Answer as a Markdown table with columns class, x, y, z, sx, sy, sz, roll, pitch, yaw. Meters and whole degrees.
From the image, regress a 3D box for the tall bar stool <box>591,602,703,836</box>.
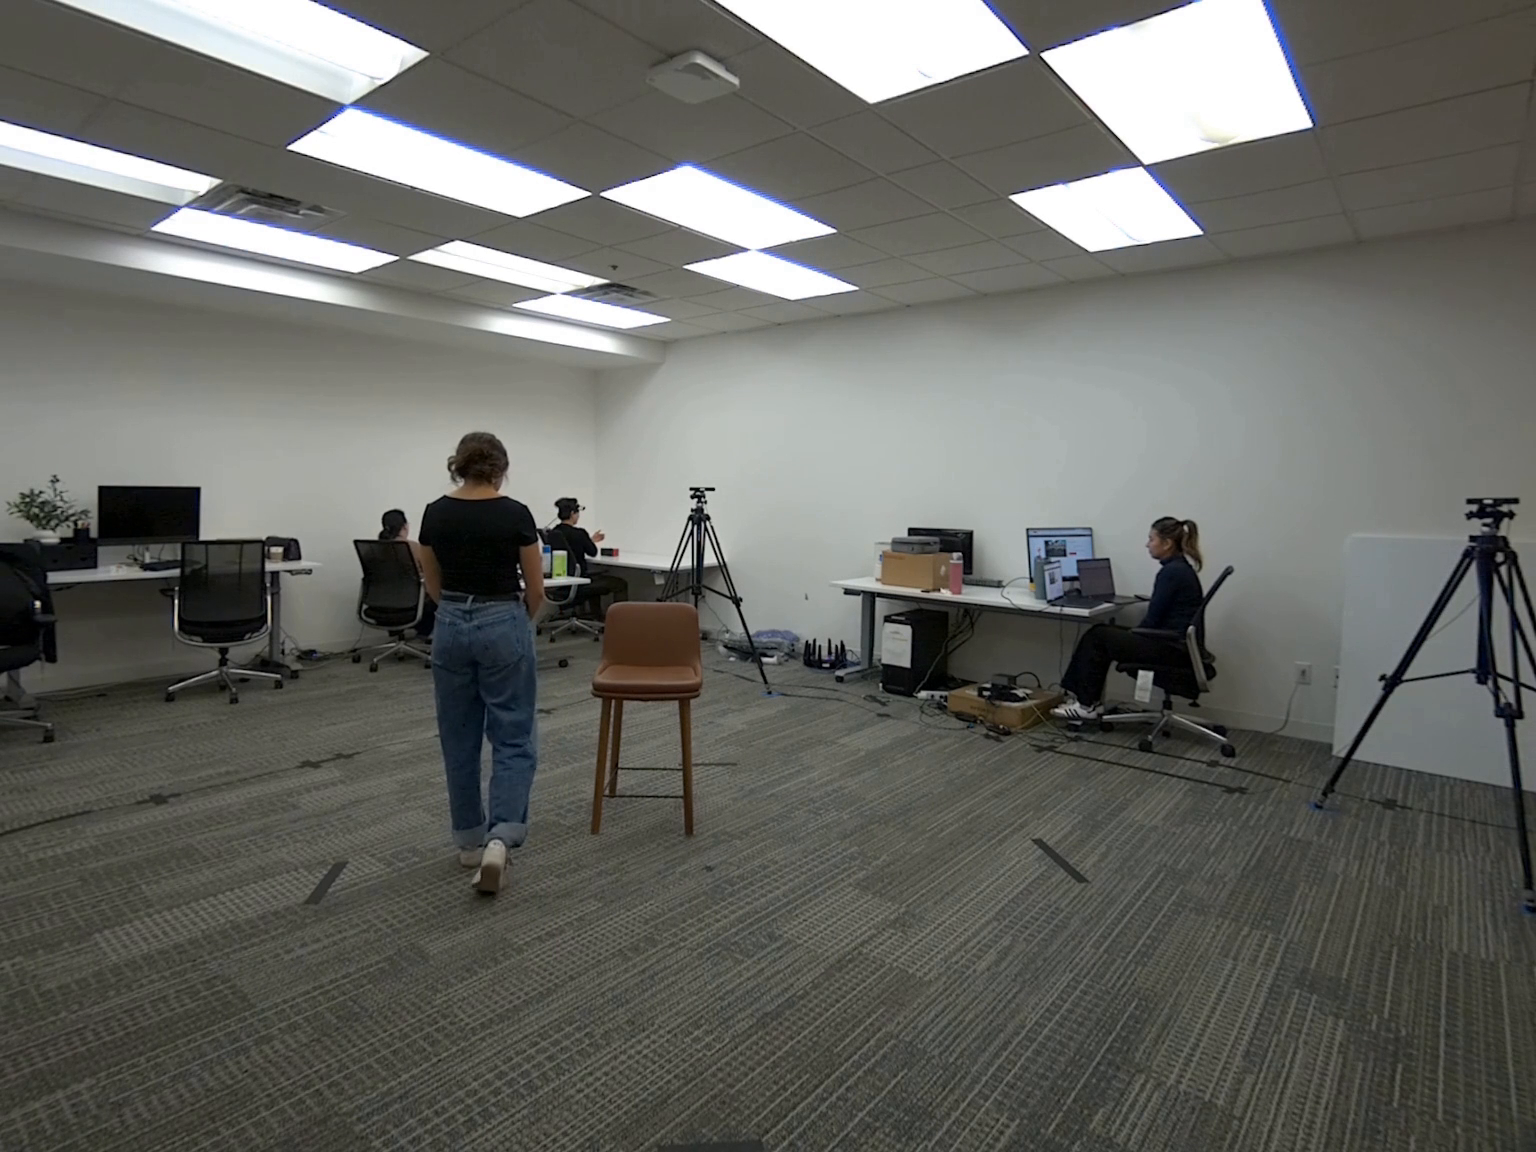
| class | x | y | z | sx | sy | sz | roll | pitch | yaw |
| --- | --- | --- | --- | --- | --- | --- | --- | --- | --- |
| tall bar stool | -0.520 | 0.576 | 3.605 | 0.456 | 0.889 | 0.469 | 1 | 1 | -2 |
